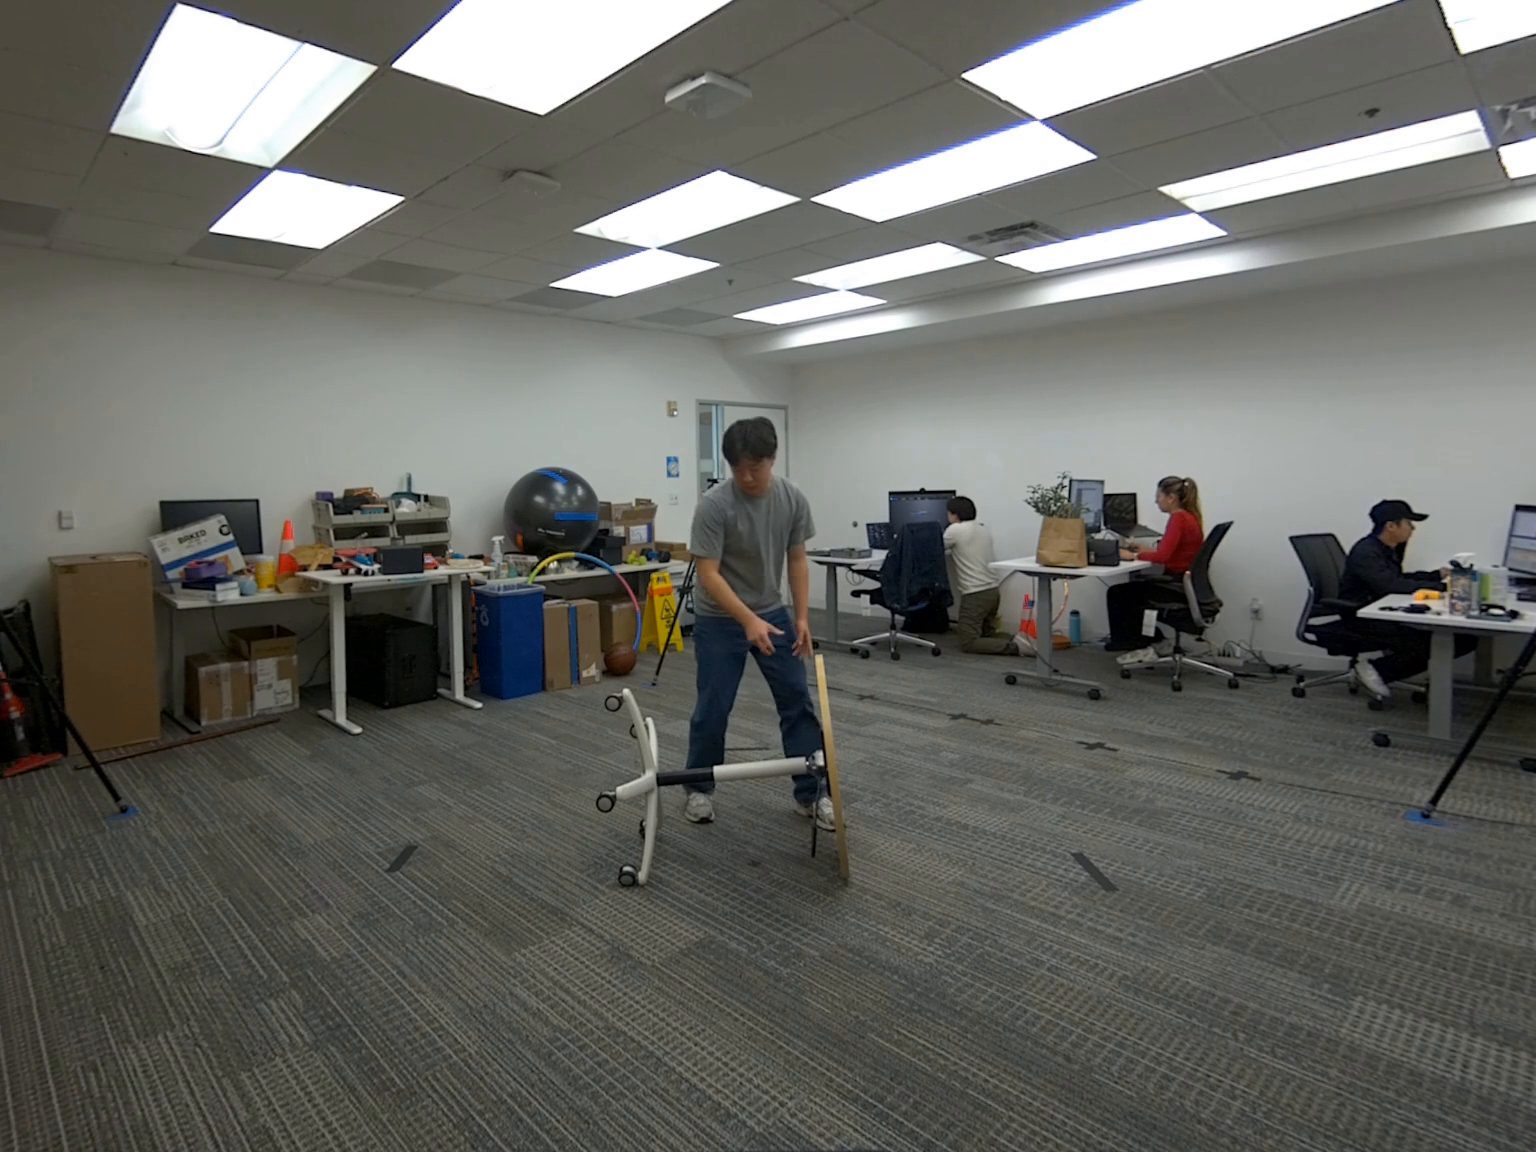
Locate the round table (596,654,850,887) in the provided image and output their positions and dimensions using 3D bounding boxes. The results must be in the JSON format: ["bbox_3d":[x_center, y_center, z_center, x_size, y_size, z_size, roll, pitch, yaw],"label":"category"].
[{"bbox_3d":[-0.150,0.719,3.078,0.797,0.761,0.764,-7,4,4],"label":"round table"}]
